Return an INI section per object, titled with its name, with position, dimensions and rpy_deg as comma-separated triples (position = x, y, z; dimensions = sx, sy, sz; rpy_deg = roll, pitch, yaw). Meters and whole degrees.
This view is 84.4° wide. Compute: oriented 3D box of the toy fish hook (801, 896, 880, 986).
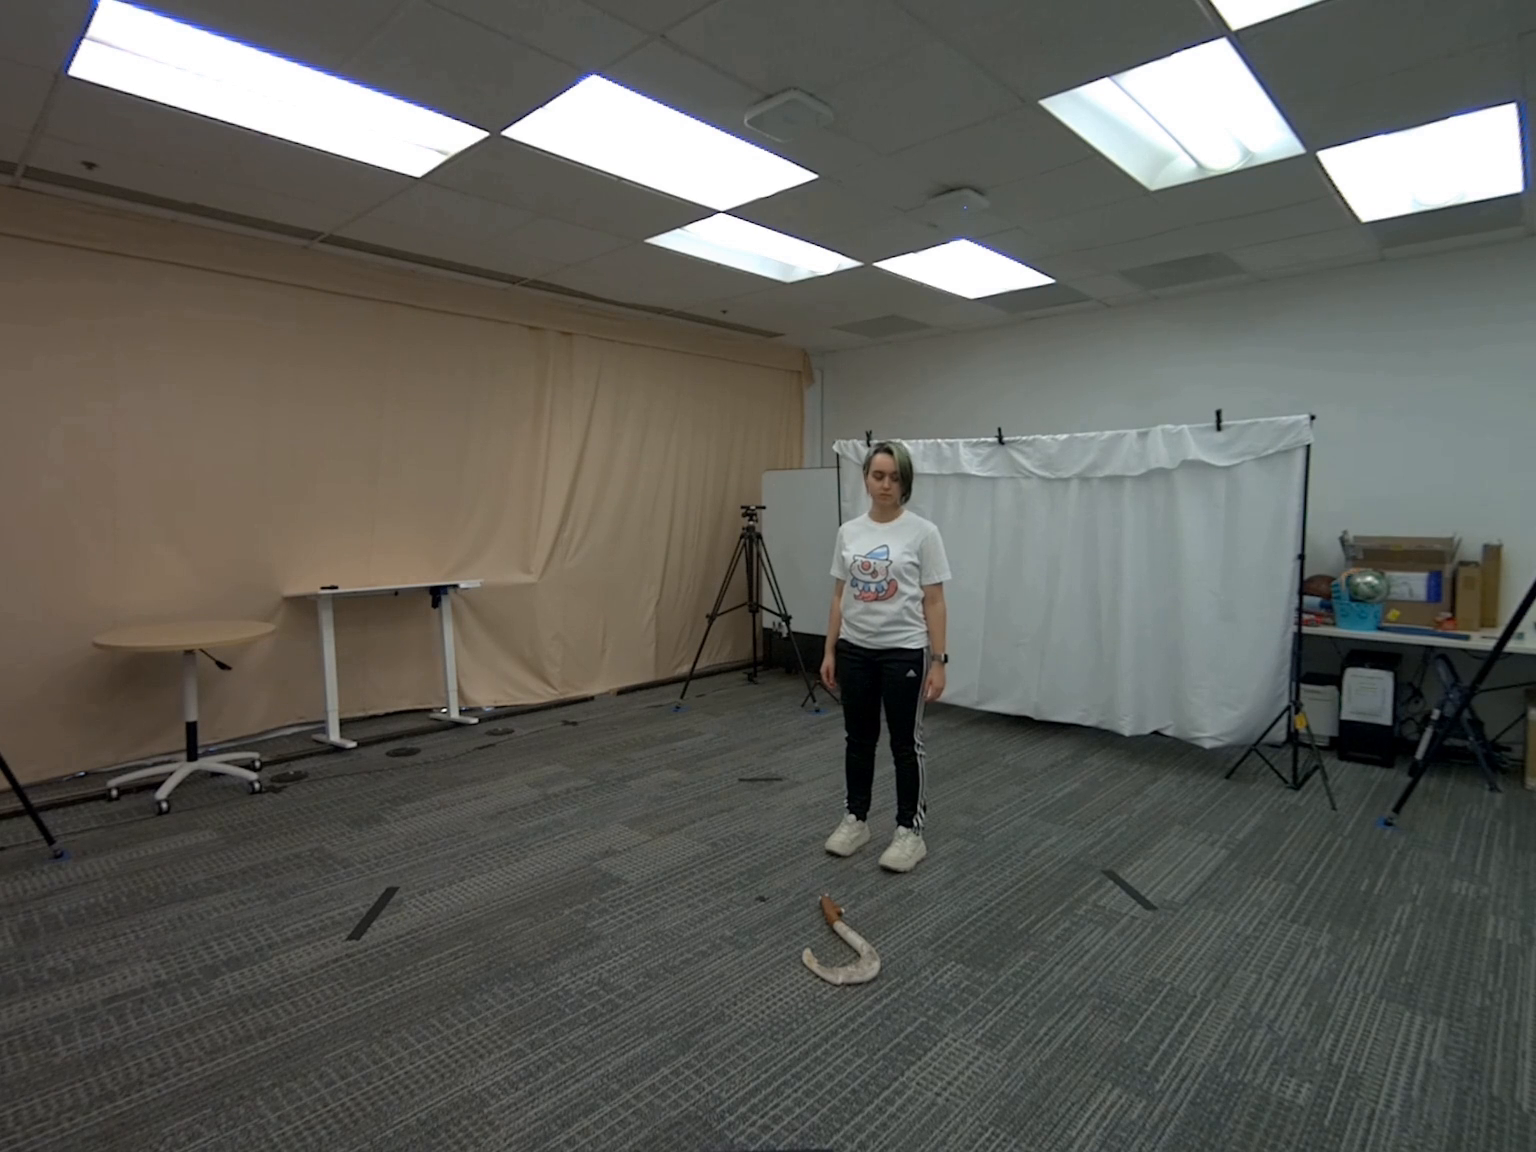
[toy fish hook]
position = 0.197, 1.146, 2.681
dimensions = 0.222, 0.048, 0.513
rpy_deg = 0, 4, -11
